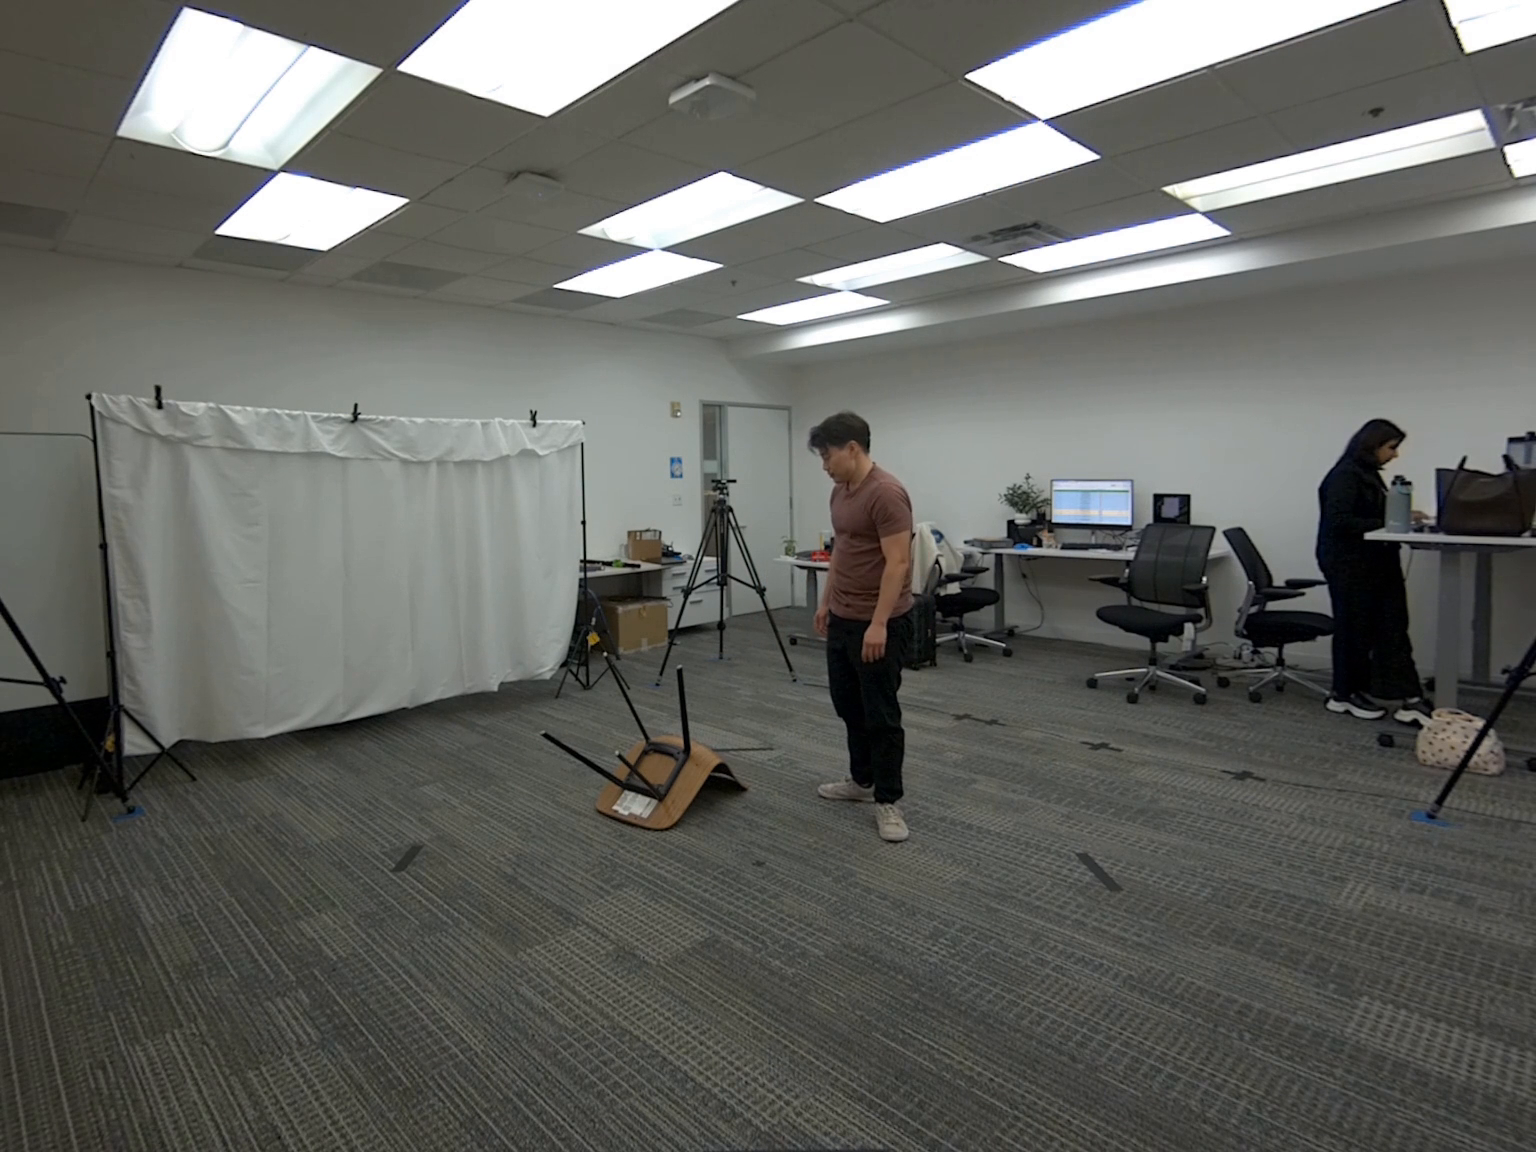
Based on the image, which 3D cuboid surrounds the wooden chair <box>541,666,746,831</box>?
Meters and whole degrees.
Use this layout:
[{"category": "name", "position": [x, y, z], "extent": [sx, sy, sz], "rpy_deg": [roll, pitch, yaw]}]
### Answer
[{"category": "wooden chair", "position": [-0.482, 0.823, 3.652], "extent": [0.492, 0.847, 0.526], "rpy_deg": [2, 45, 37]}]
